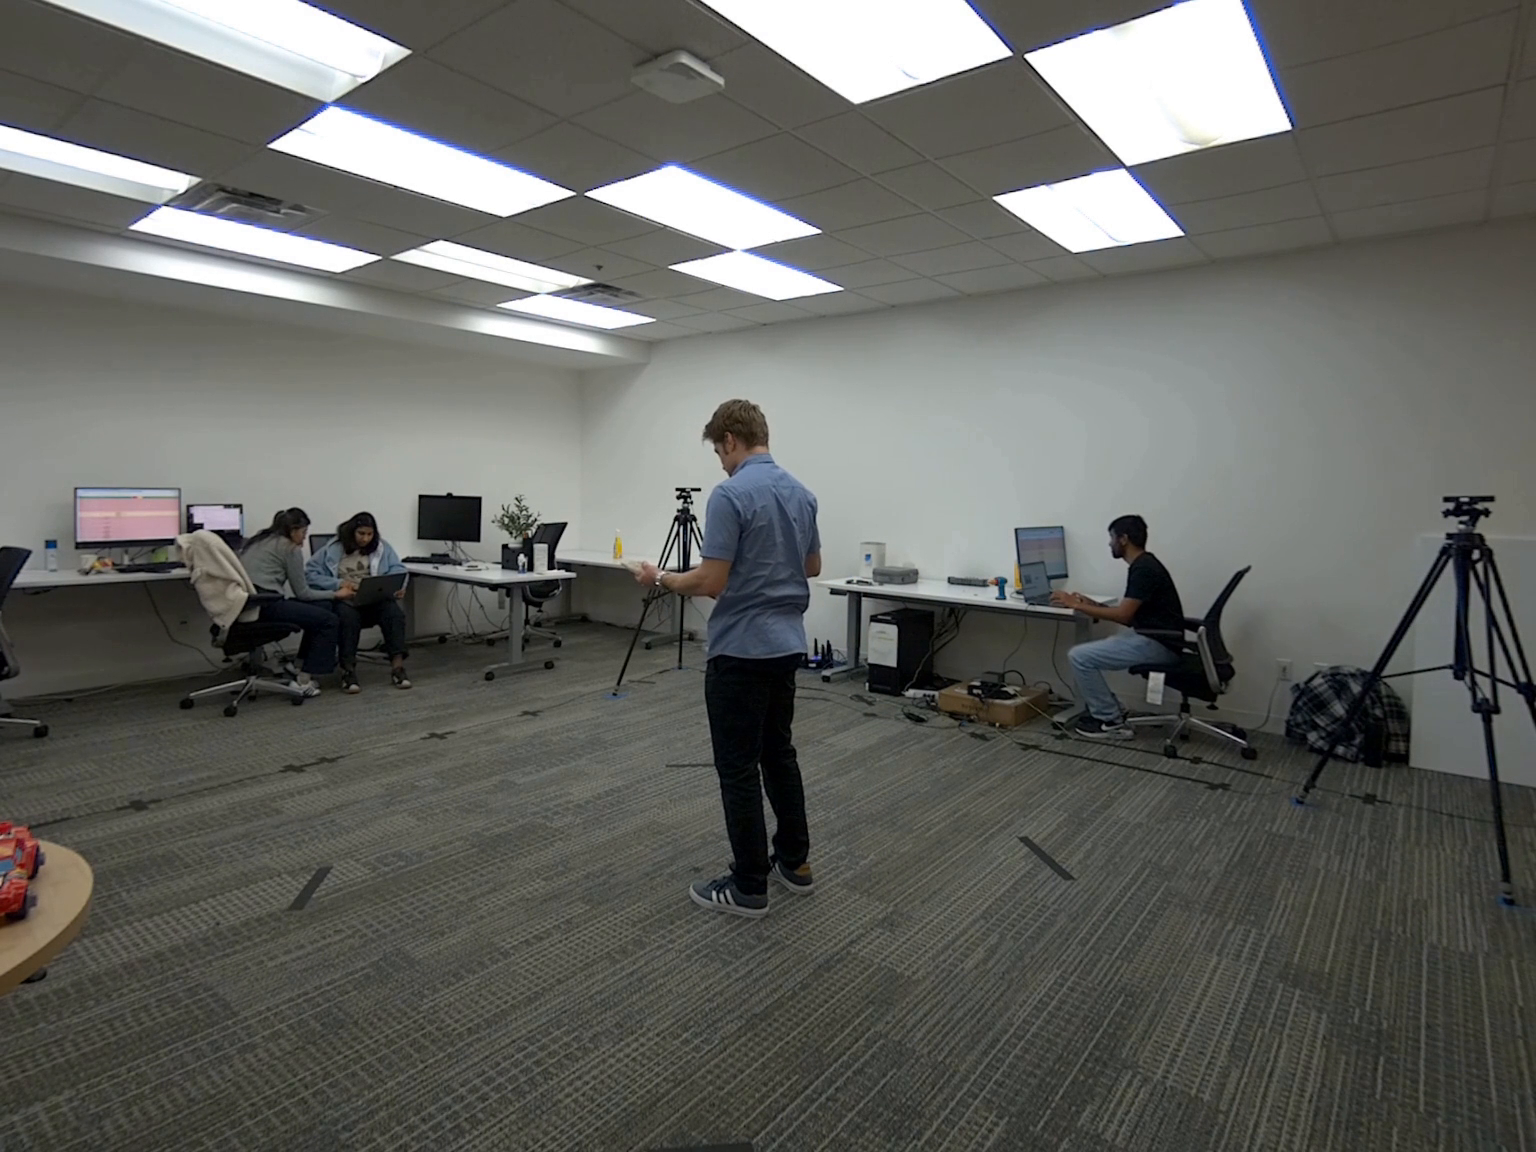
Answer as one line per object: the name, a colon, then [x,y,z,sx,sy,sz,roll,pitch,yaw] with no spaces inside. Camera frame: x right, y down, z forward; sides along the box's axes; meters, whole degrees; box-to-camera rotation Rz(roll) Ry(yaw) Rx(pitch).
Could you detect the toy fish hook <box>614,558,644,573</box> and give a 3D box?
toy fish hook: [-0.325,-0.007,3.095,0.234,0.048,0.488,25,10,42]
